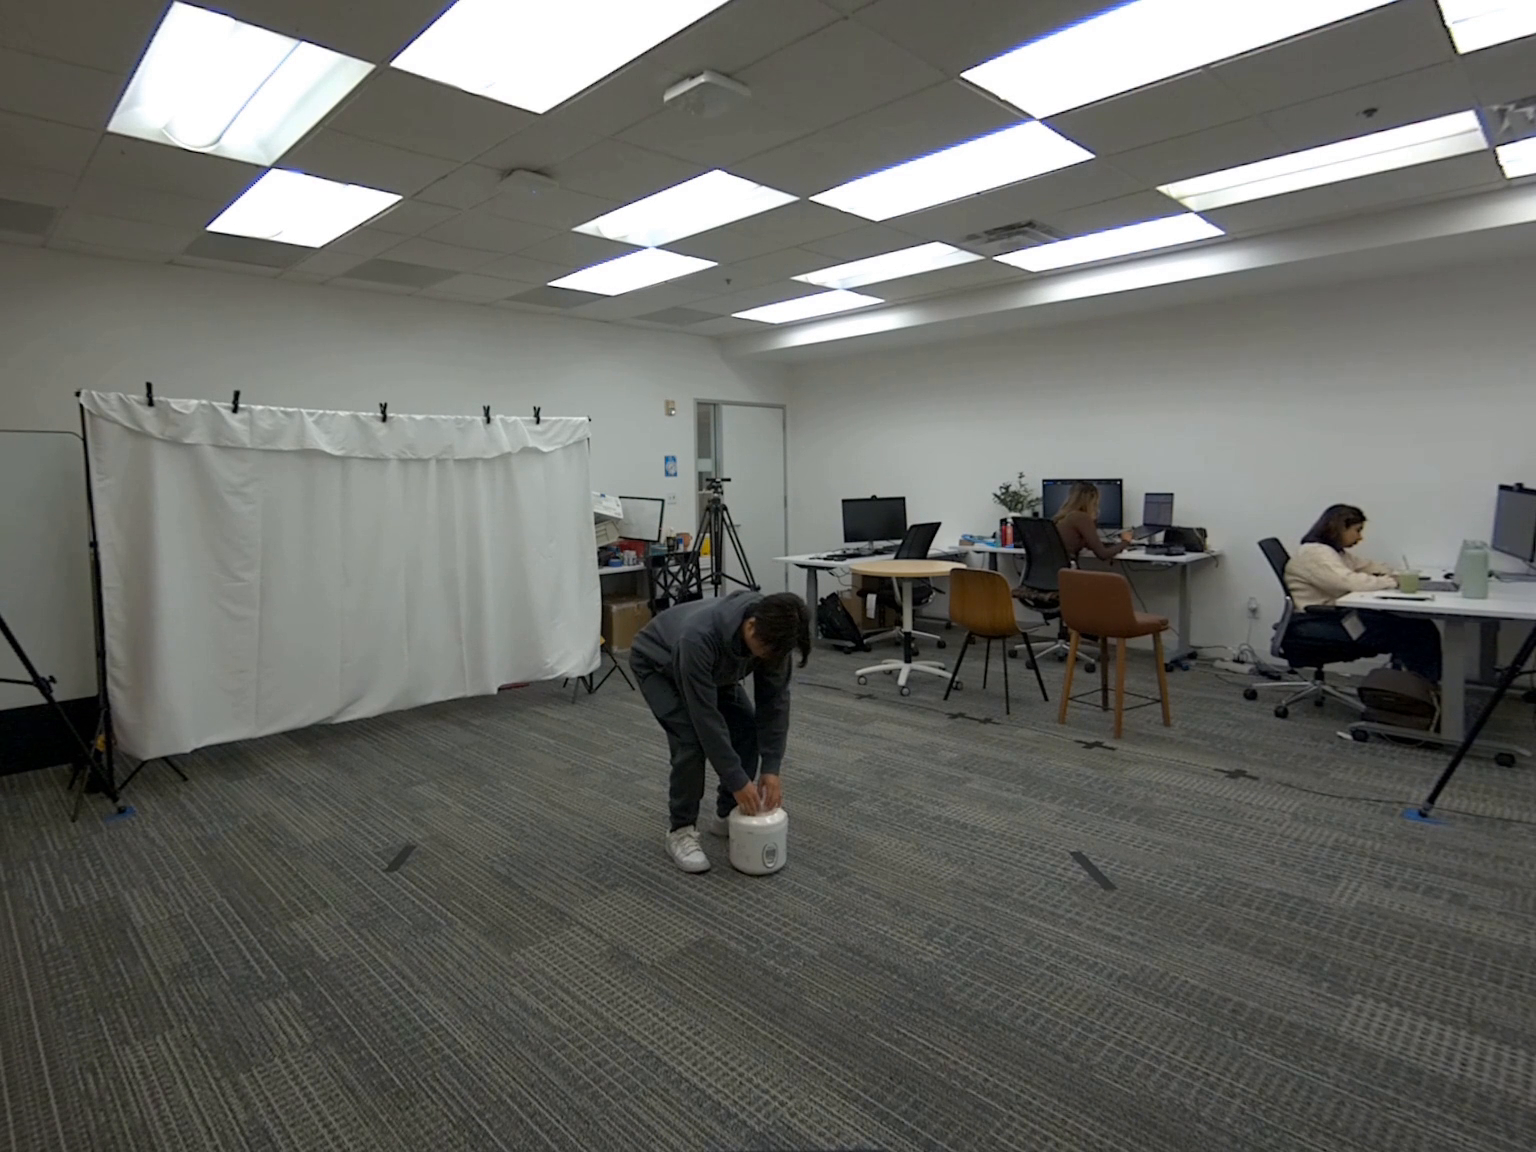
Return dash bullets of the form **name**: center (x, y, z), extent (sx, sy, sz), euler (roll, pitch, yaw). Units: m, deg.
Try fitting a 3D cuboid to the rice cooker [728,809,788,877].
- **rice cooker**: center (-0.031, 0.927, 3.079), extent (0.216, 0.232, 0.222), euler (-3, 4, -22)
